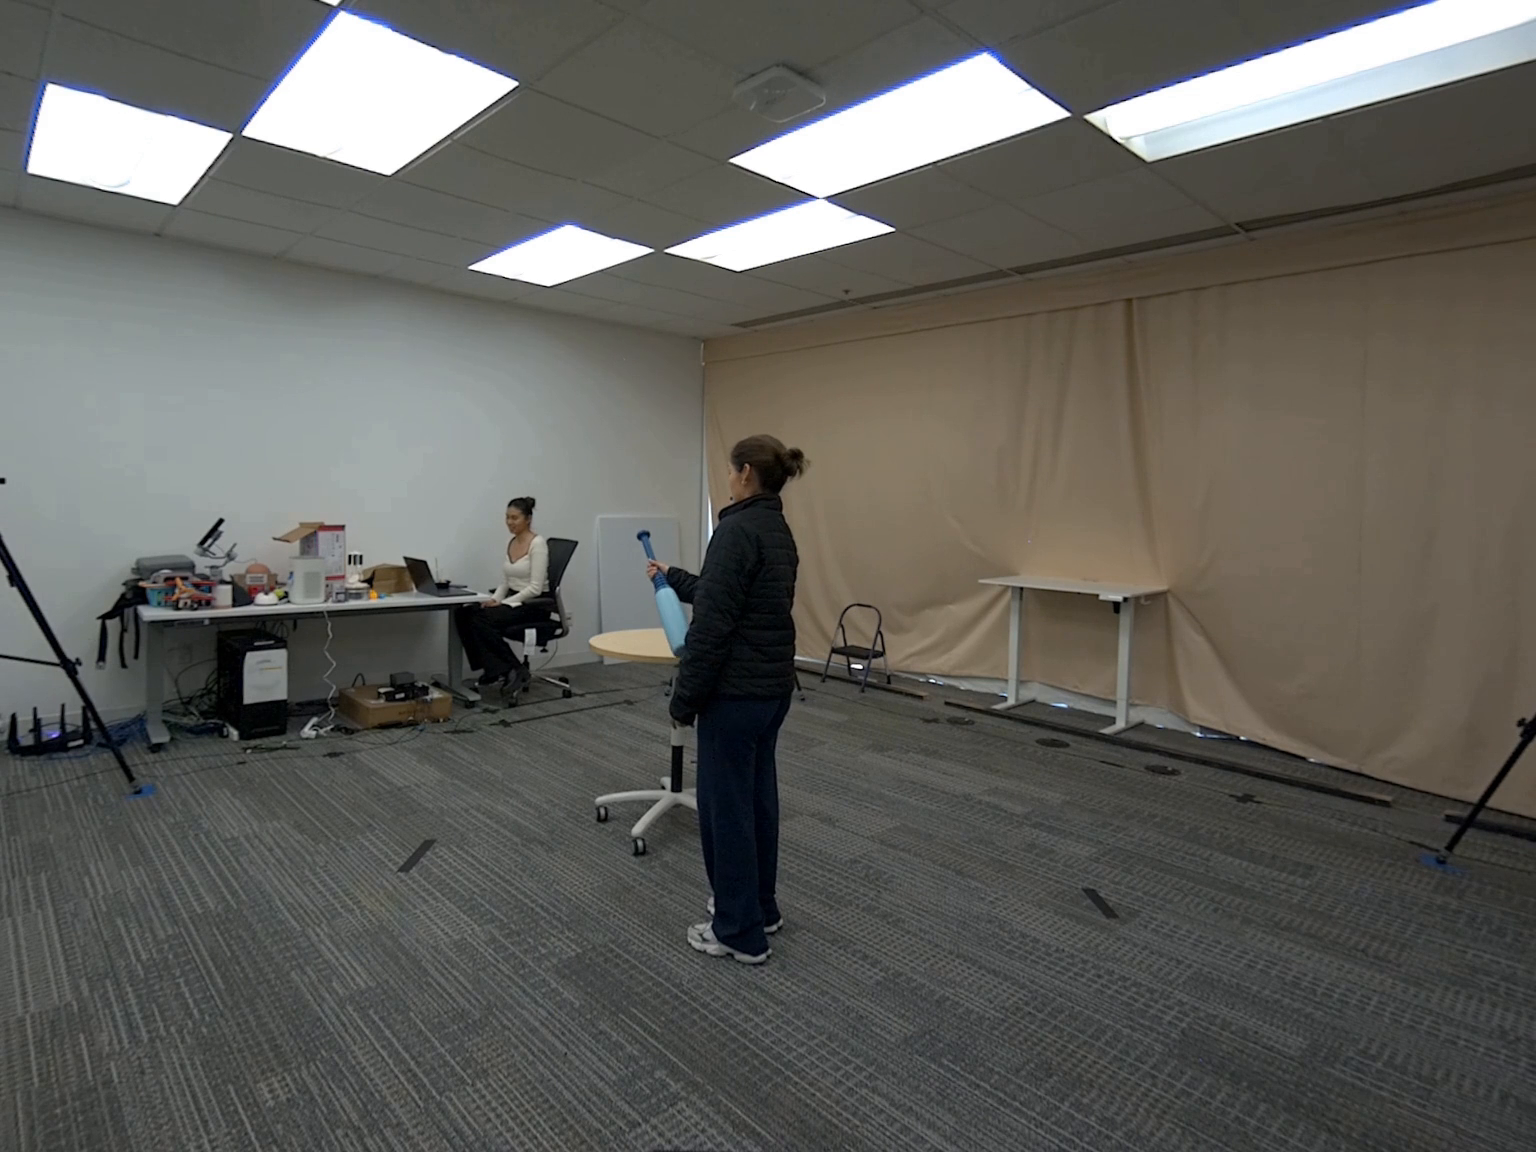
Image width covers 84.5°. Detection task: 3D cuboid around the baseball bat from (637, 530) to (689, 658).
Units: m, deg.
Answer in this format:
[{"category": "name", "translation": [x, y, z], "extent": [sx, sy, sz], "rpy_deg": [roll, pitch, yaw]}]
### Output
[{"category": "baseball bat", "translation": [-0.369, 0.055, 2.936], "extent": [0.088, 0.558, 0.087], "rpy_deg": [-16, -34, -12]}]
